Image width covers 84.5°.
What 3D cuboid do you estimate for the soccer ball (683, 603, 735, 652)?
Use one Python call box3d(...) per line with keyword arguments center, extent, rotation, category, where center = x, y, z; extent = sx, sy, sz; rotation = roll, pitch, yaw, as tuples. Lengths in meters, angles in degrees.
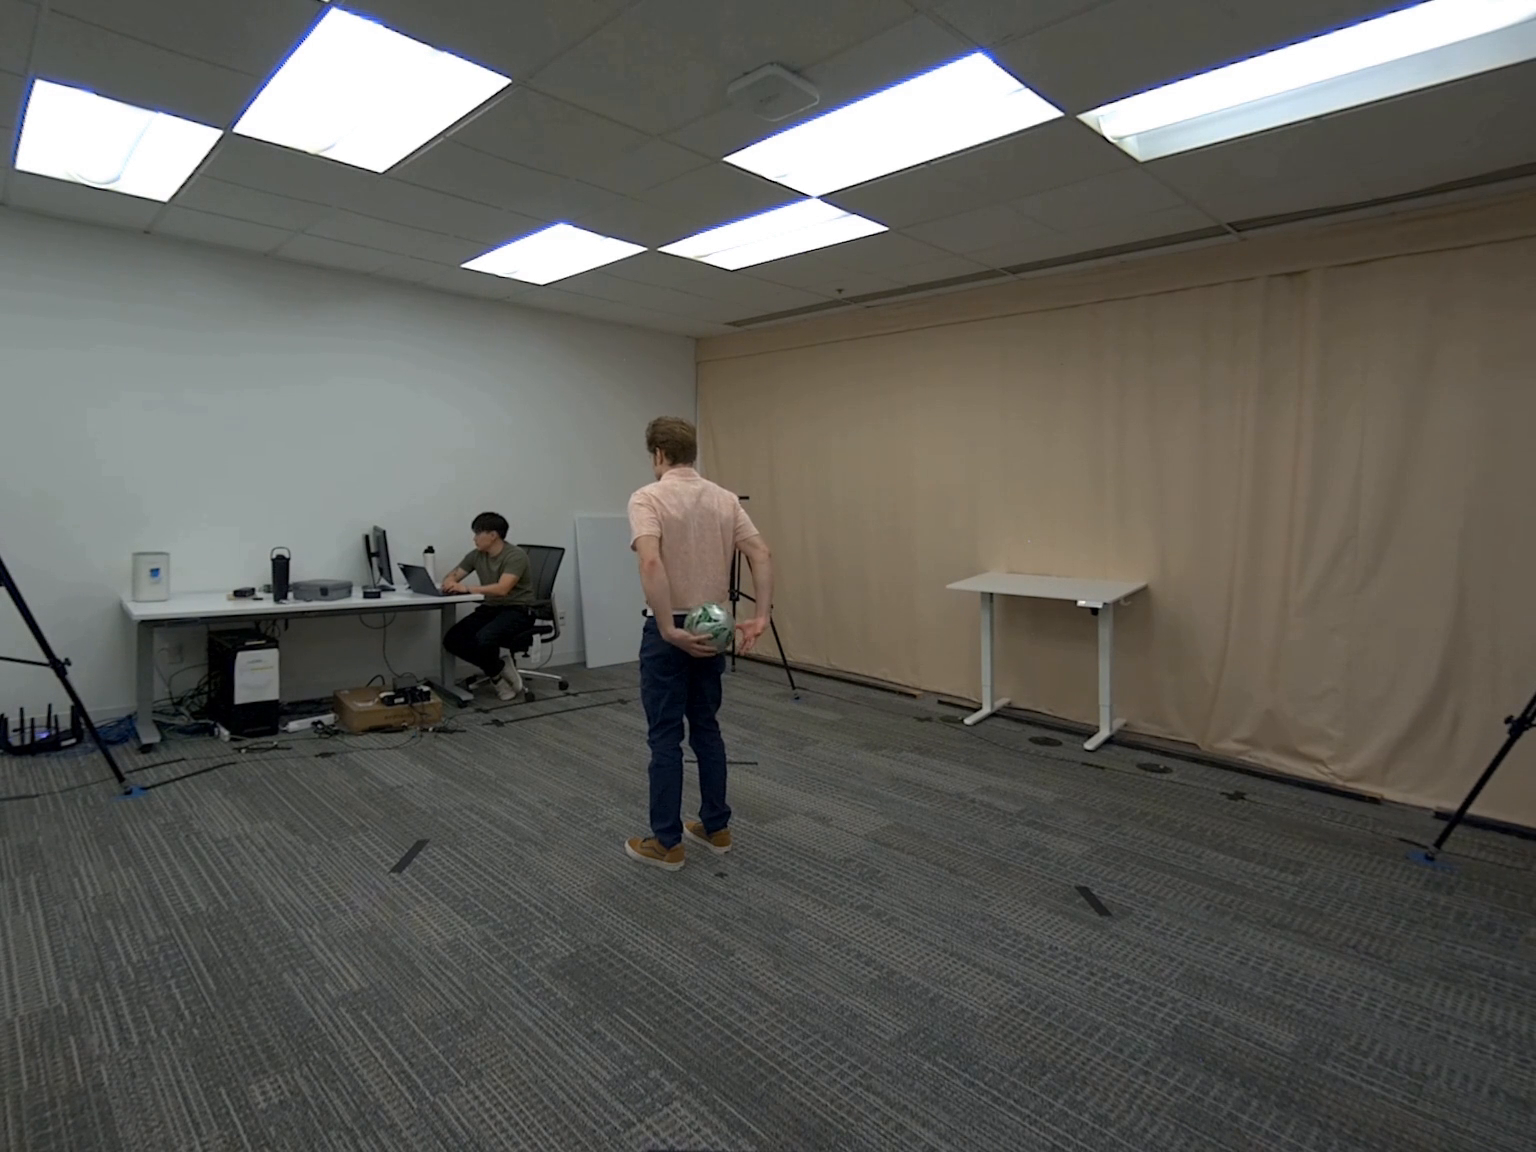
box3d(center=(-0.235, 0.191, 3.010), extent=(0.187, 0.187, 0.188), rotation=(1, 4, -1), category="soccer ball")
